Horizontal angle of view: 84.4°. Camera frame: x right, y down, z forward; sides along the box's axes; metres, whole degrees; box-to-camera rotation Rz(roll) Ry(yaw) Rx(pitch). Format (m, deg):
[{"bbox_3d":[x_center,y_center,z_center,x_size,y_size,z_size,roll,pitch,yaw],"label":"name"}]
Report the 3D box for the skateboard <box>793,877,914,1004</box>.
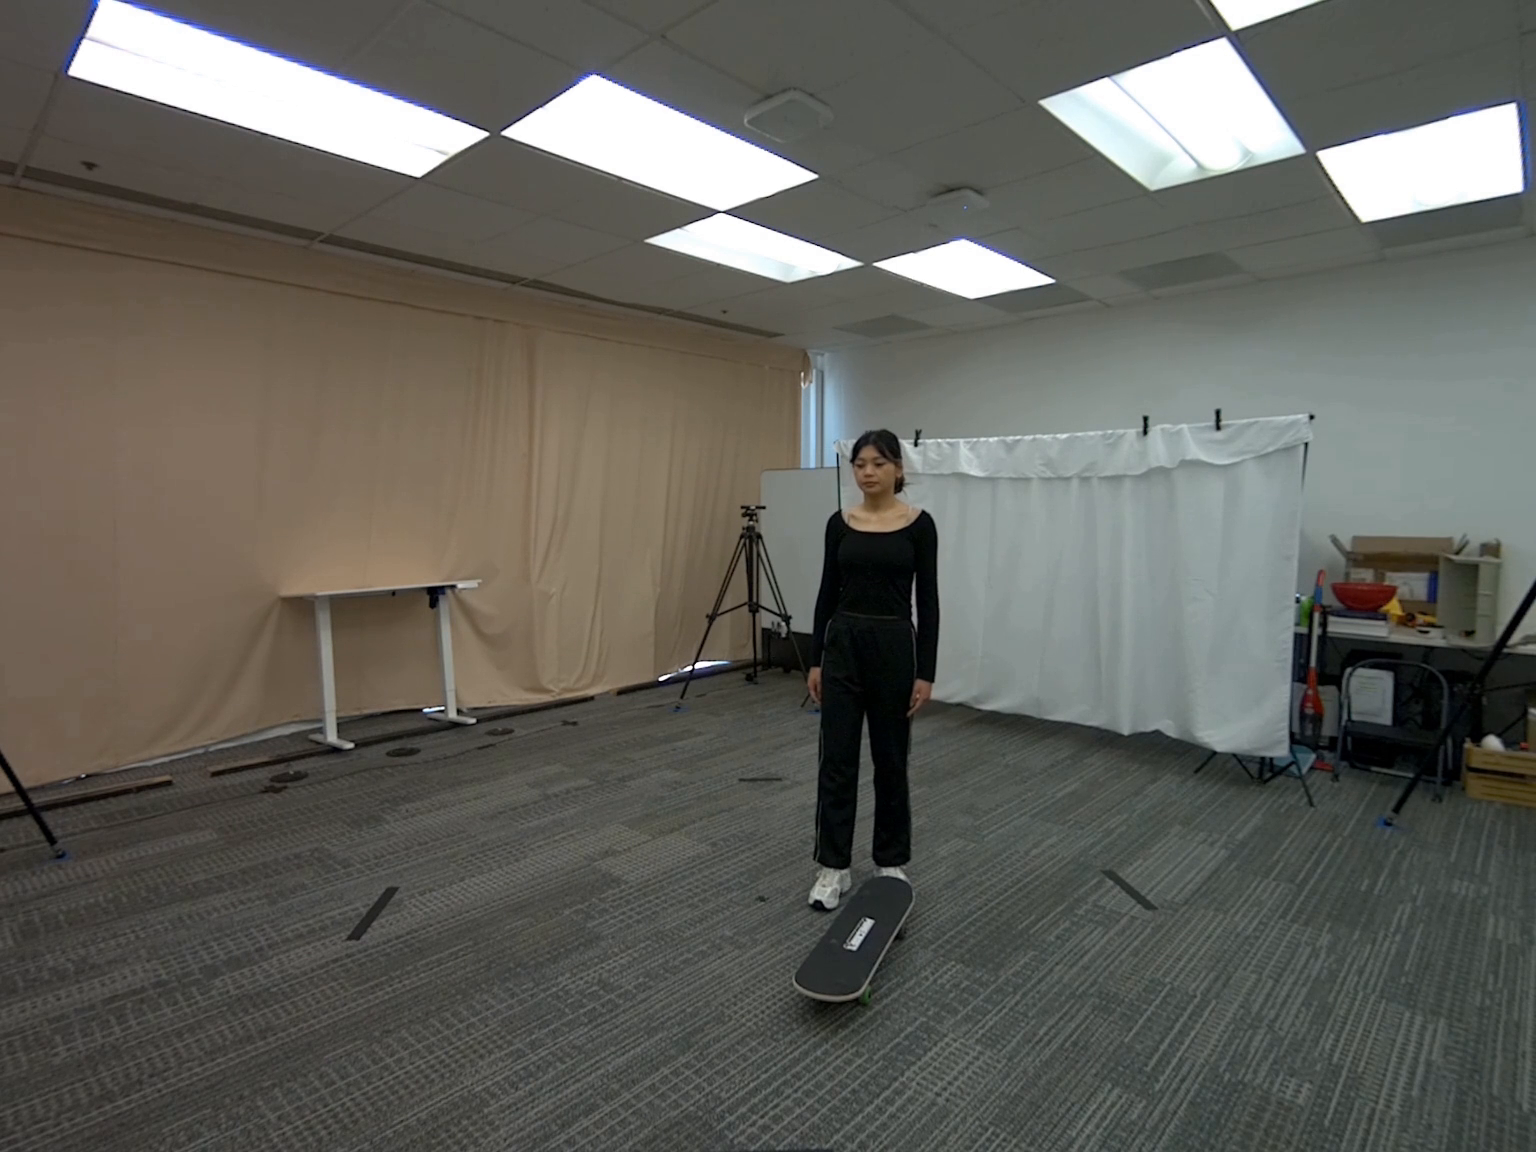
[{"bbox_3d":[0.285,1.129,2.563,0.198,0.110,0.767,2,4,24],"label":"skateboard"}]
